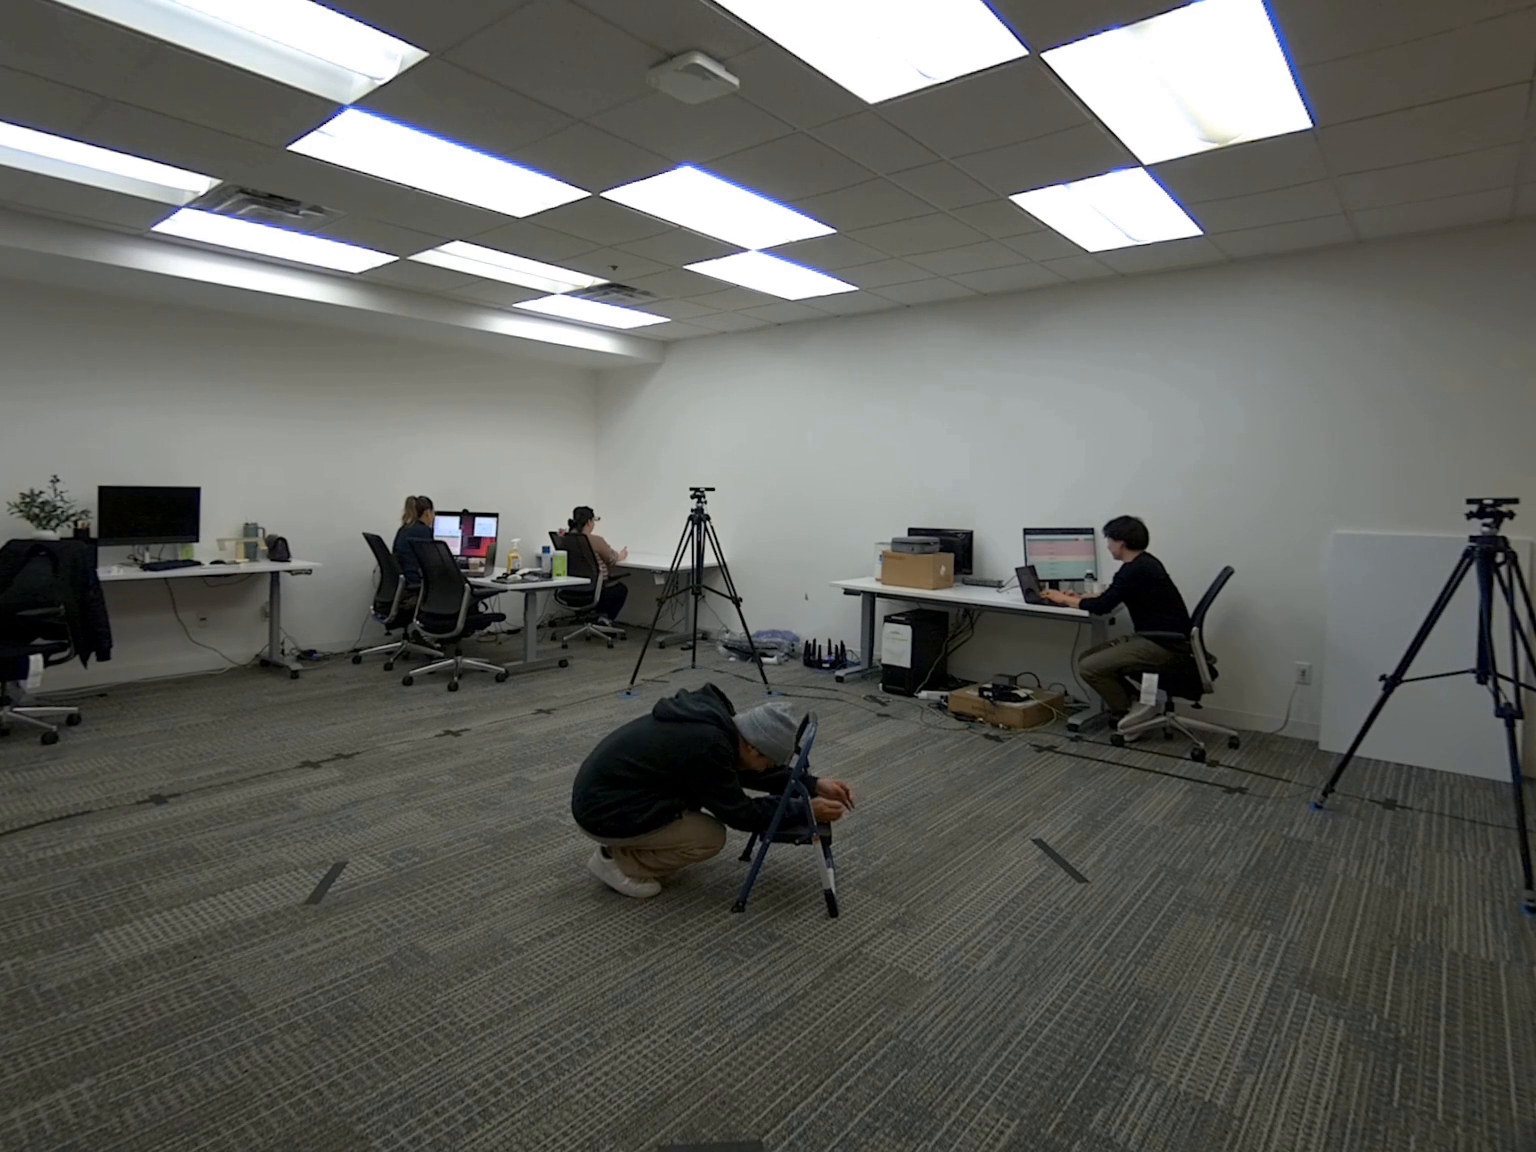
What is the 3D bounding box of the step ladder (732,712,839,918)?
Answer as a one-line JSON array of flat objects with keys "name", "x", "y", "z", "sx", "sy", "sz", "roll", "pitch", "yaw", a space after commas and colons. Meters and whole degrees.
[{"name": "step ladder", "x": 0.064, "y": 0.793, "z": 2.963, "sx": 0.351, "sy": 0.604, "sz": 0.430, "roll": 1, "pitch": 3, "yaw": 3}]
